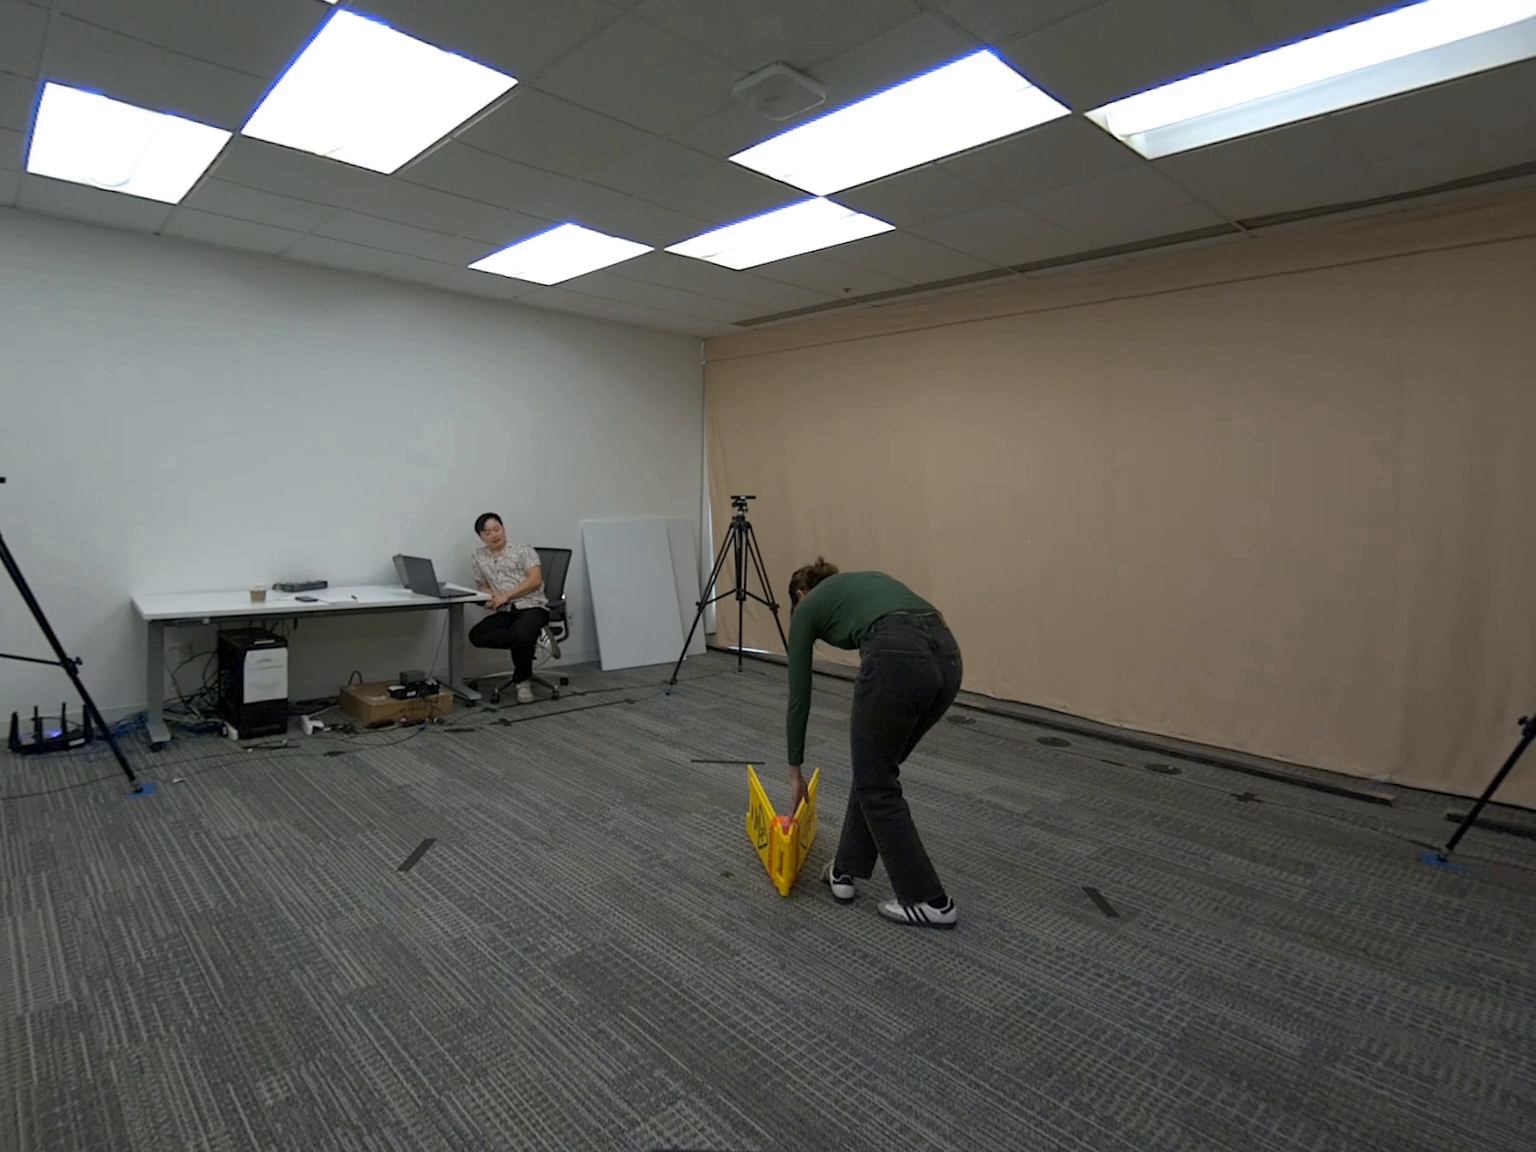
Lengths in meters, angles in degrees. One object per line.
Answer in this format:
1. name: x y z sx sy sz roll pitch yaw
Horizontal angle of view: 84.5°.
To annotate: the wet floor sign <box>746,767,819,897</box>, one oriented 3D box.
1. wet floor sign: 0.054 0.965 3.199 0.290 0.281 0.648 2 7 0
